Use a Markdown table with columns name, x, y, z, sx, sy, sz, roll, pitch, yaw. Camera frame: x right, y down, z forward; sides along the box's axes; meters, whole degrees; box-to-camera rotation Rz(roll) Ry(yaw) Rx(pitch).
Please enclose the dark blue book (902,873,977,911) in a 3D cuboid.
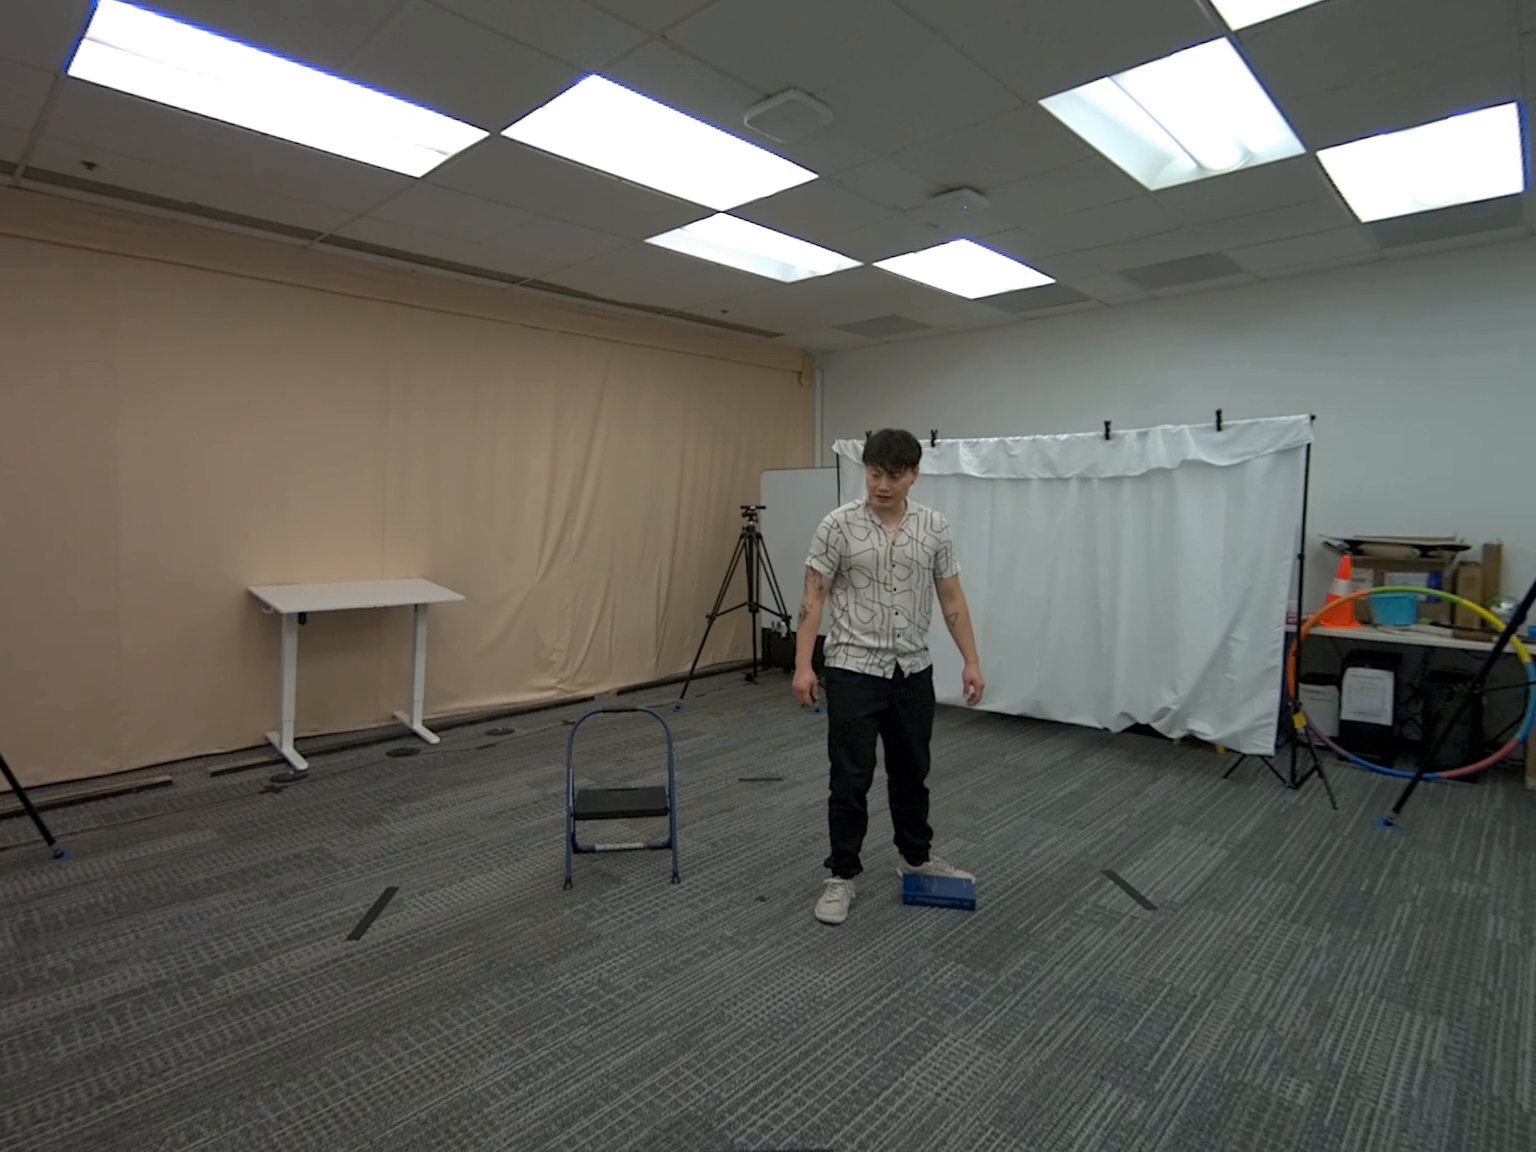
| name | x | y | z | sx | sy | sz | roll | pitch | yaw |
| --- | --- | --- | --- | --- | --- | --- | --- | --- | --- |
| dark blue book | 0.606 | 1.116 | 2.980 | 0.248 | 0.045 | 0.162 | 0 | 3 | 11 |
